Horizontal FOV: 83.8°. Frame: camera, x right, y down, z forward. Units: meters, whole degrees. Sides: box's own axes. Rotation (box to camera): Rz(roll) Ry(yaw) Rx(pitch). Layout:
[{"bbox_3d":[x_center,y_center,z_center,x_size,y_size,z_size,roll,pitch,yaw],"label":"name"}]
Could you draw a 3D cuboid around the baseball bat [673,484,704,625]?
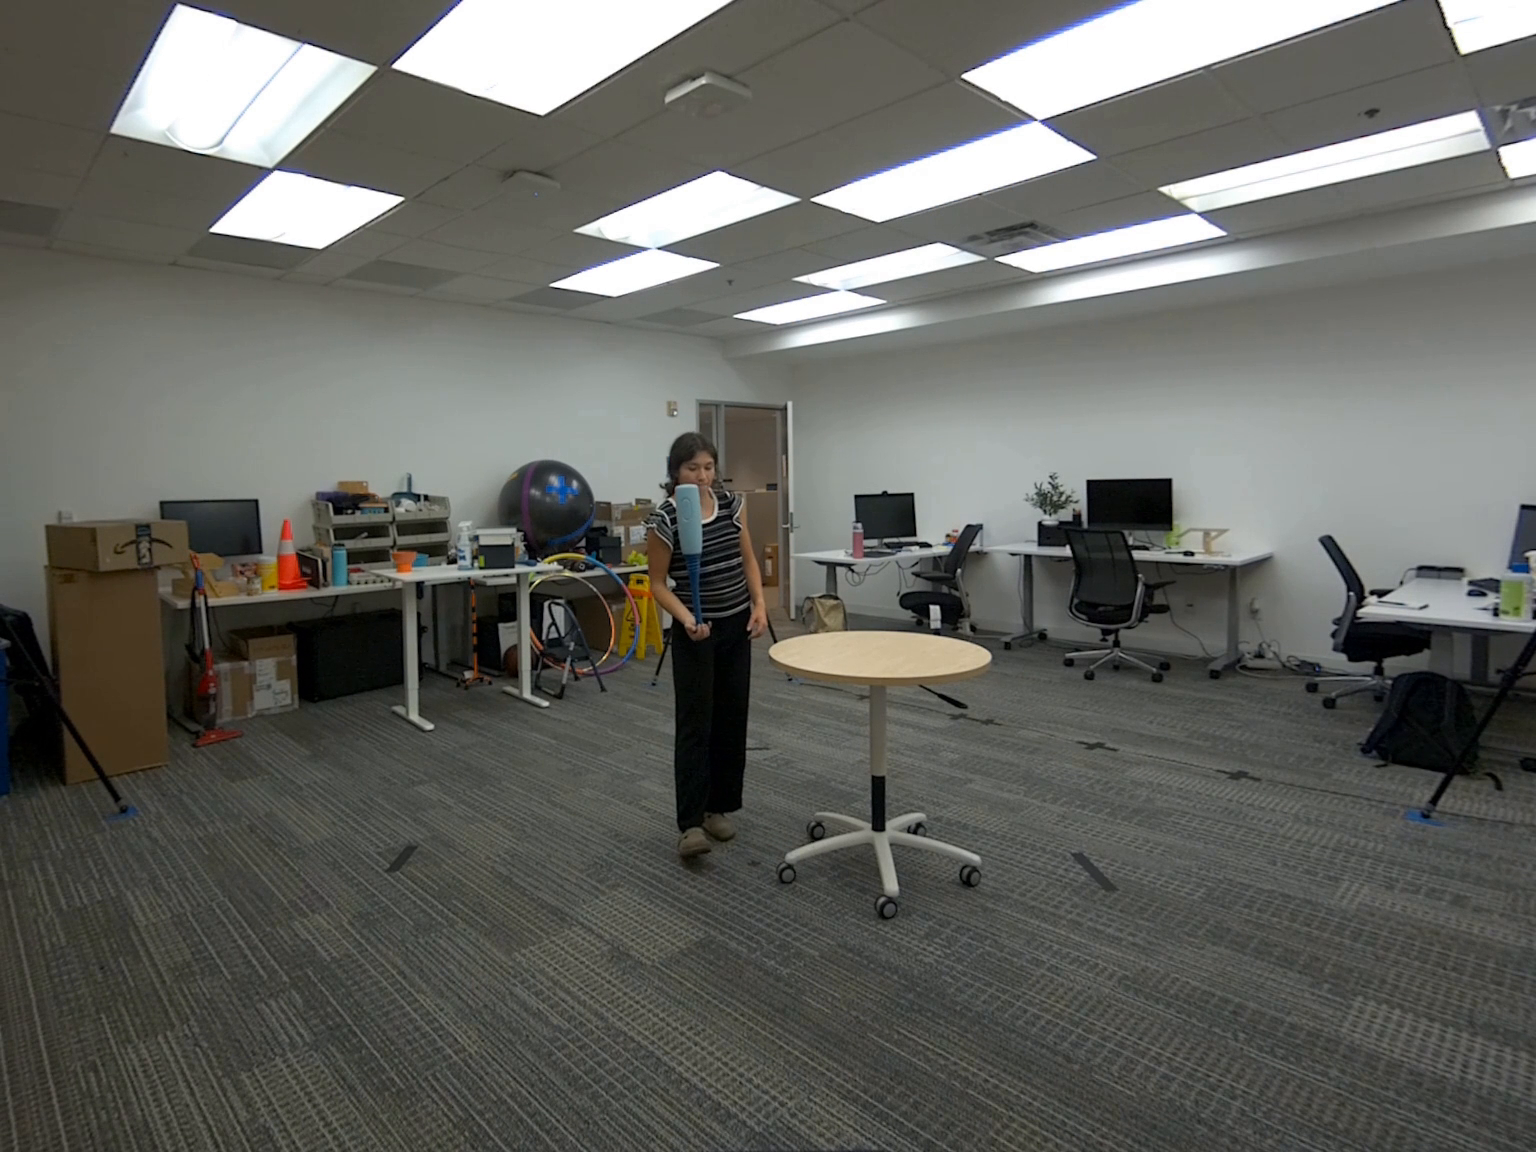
[{"bbox_3d":[-0.279,-0.062,3.104,0.089,0.541,0.089,-4,4,-1],"label":"baseball bat"}]
